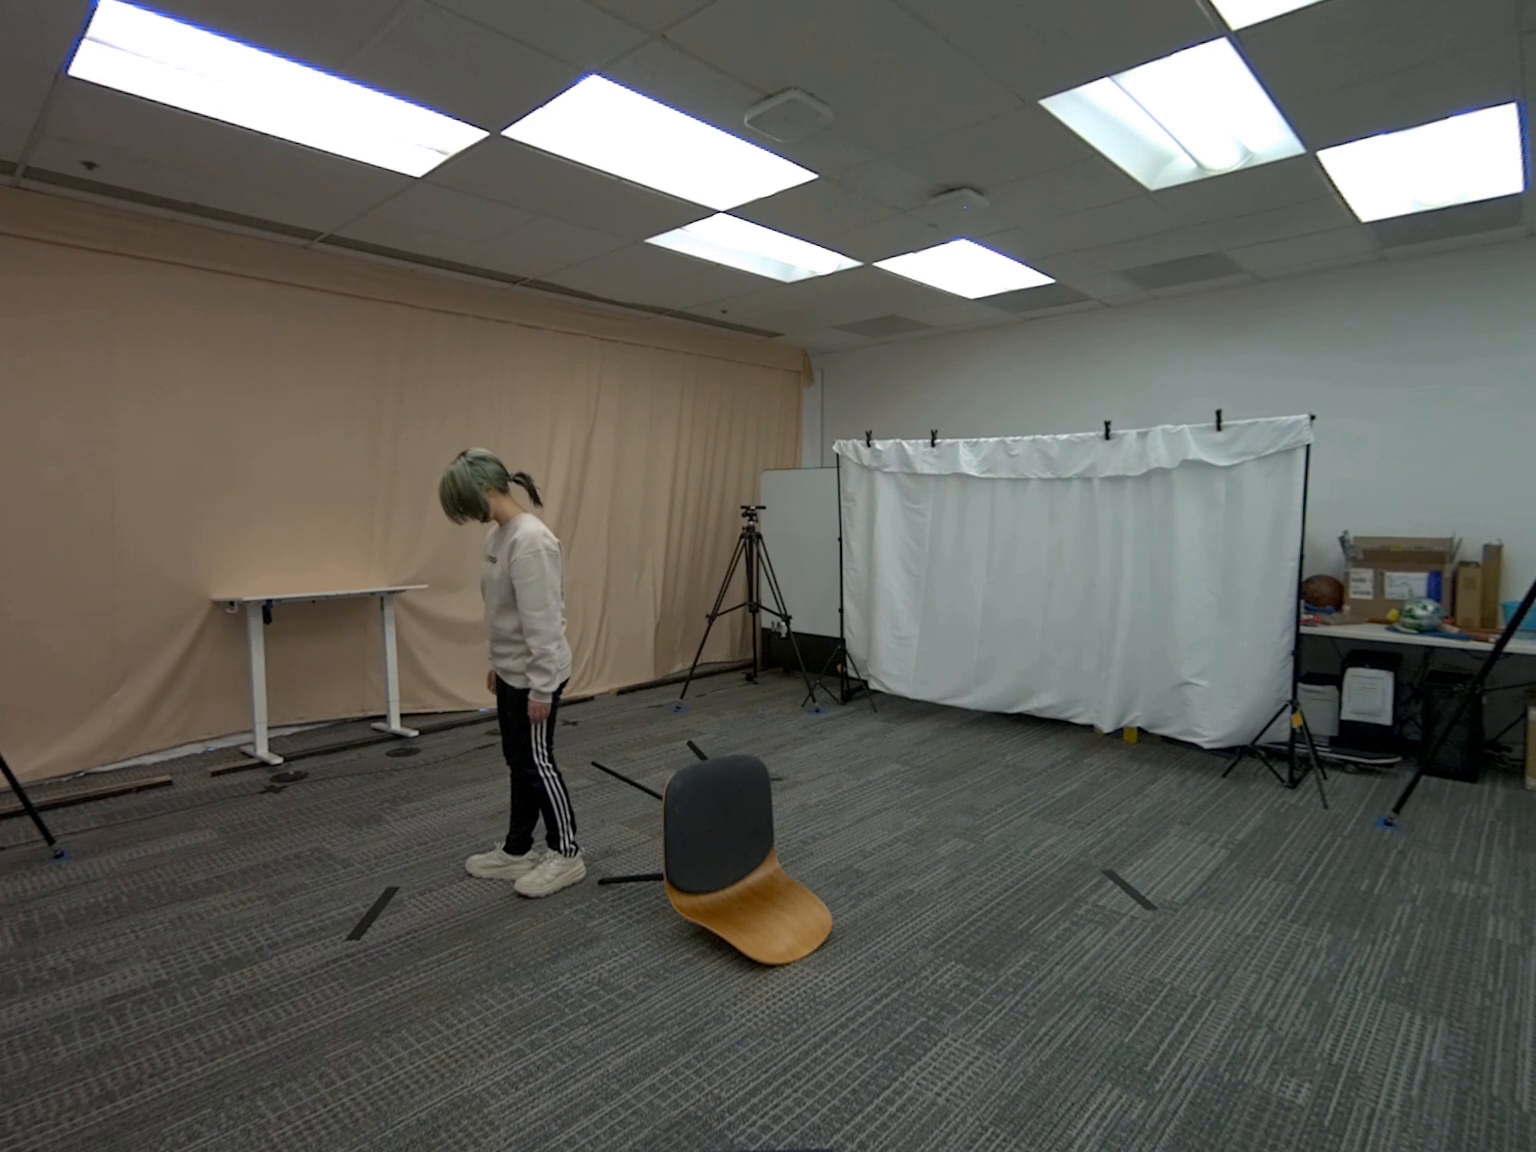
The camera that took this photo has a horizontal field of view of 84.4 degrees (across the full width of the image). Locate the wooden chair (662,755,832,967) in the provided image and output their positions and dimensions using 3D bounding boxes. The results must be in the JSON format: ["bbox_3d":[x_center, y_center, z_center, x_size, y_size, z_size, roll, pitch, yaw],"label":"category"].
[{"bbox_3d":[-0.188,0.895,2.908,0.464,0.521,0.907,-4,7,-39],"label":"wooden chair"}]
